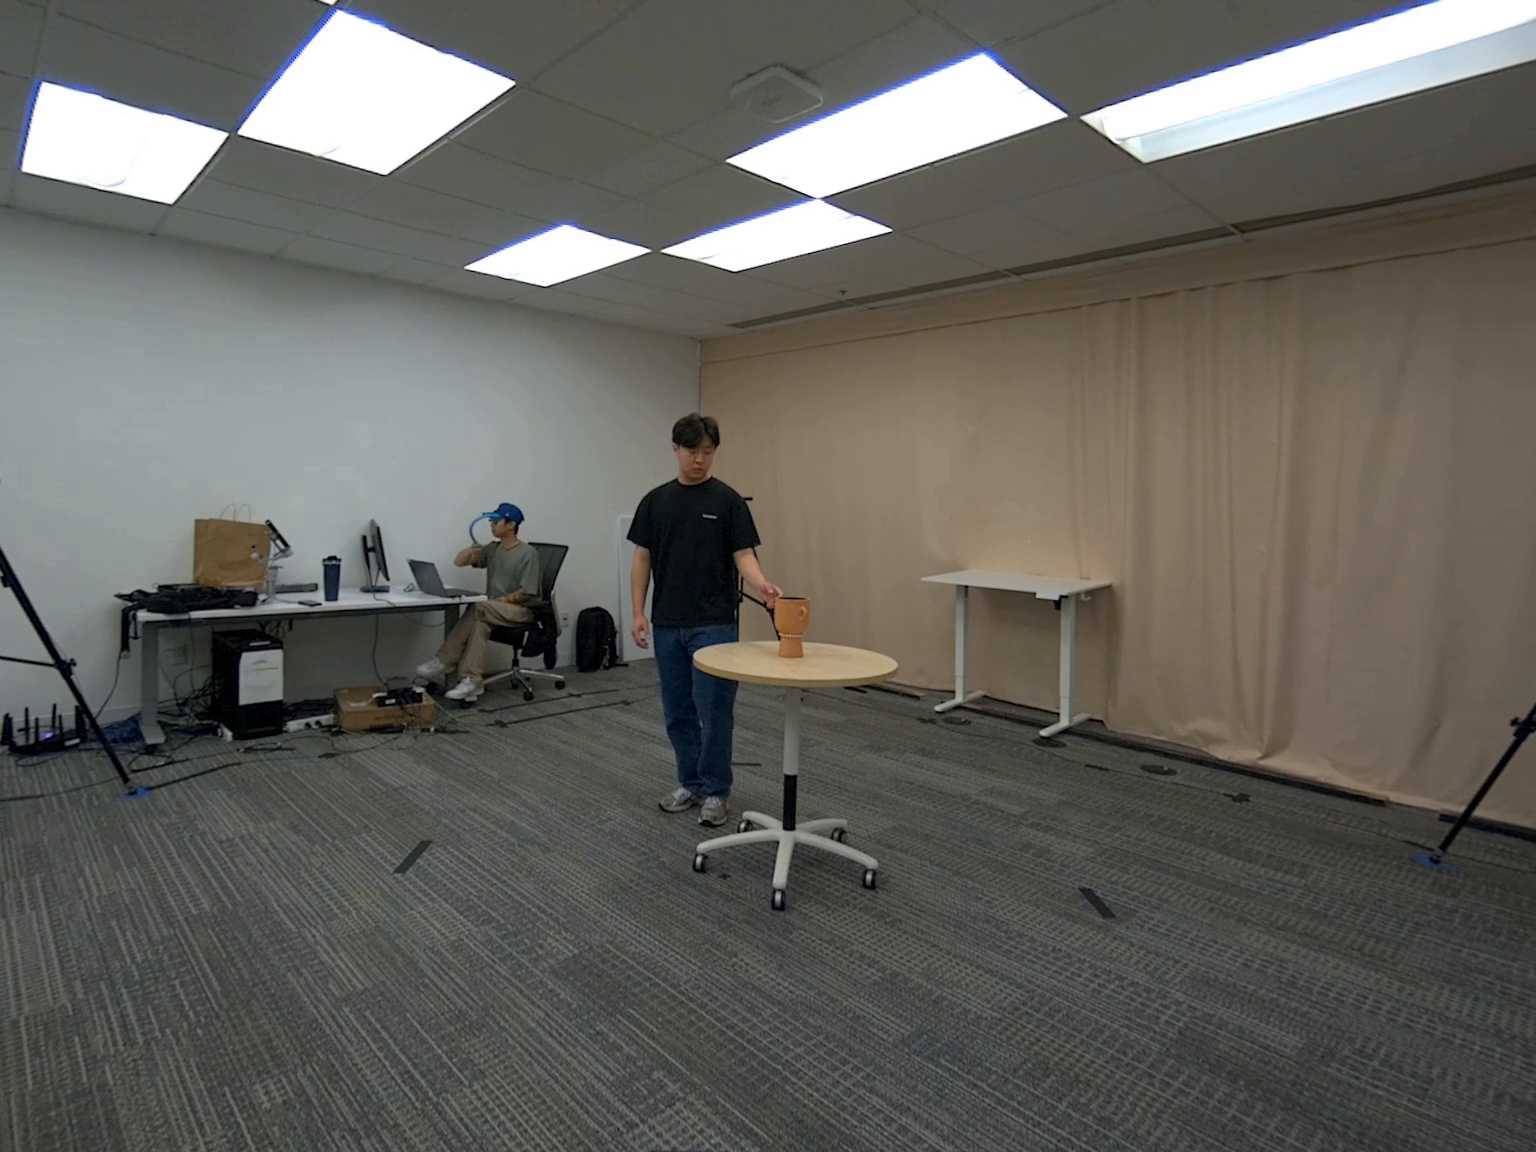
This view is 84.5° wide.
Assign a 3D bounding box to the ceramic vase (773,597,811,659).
[{"bbox_3d":[0.081,0.197,3.219,0.136,0.219,0.157,1,2,11],"label":"ceramic vase"}]
